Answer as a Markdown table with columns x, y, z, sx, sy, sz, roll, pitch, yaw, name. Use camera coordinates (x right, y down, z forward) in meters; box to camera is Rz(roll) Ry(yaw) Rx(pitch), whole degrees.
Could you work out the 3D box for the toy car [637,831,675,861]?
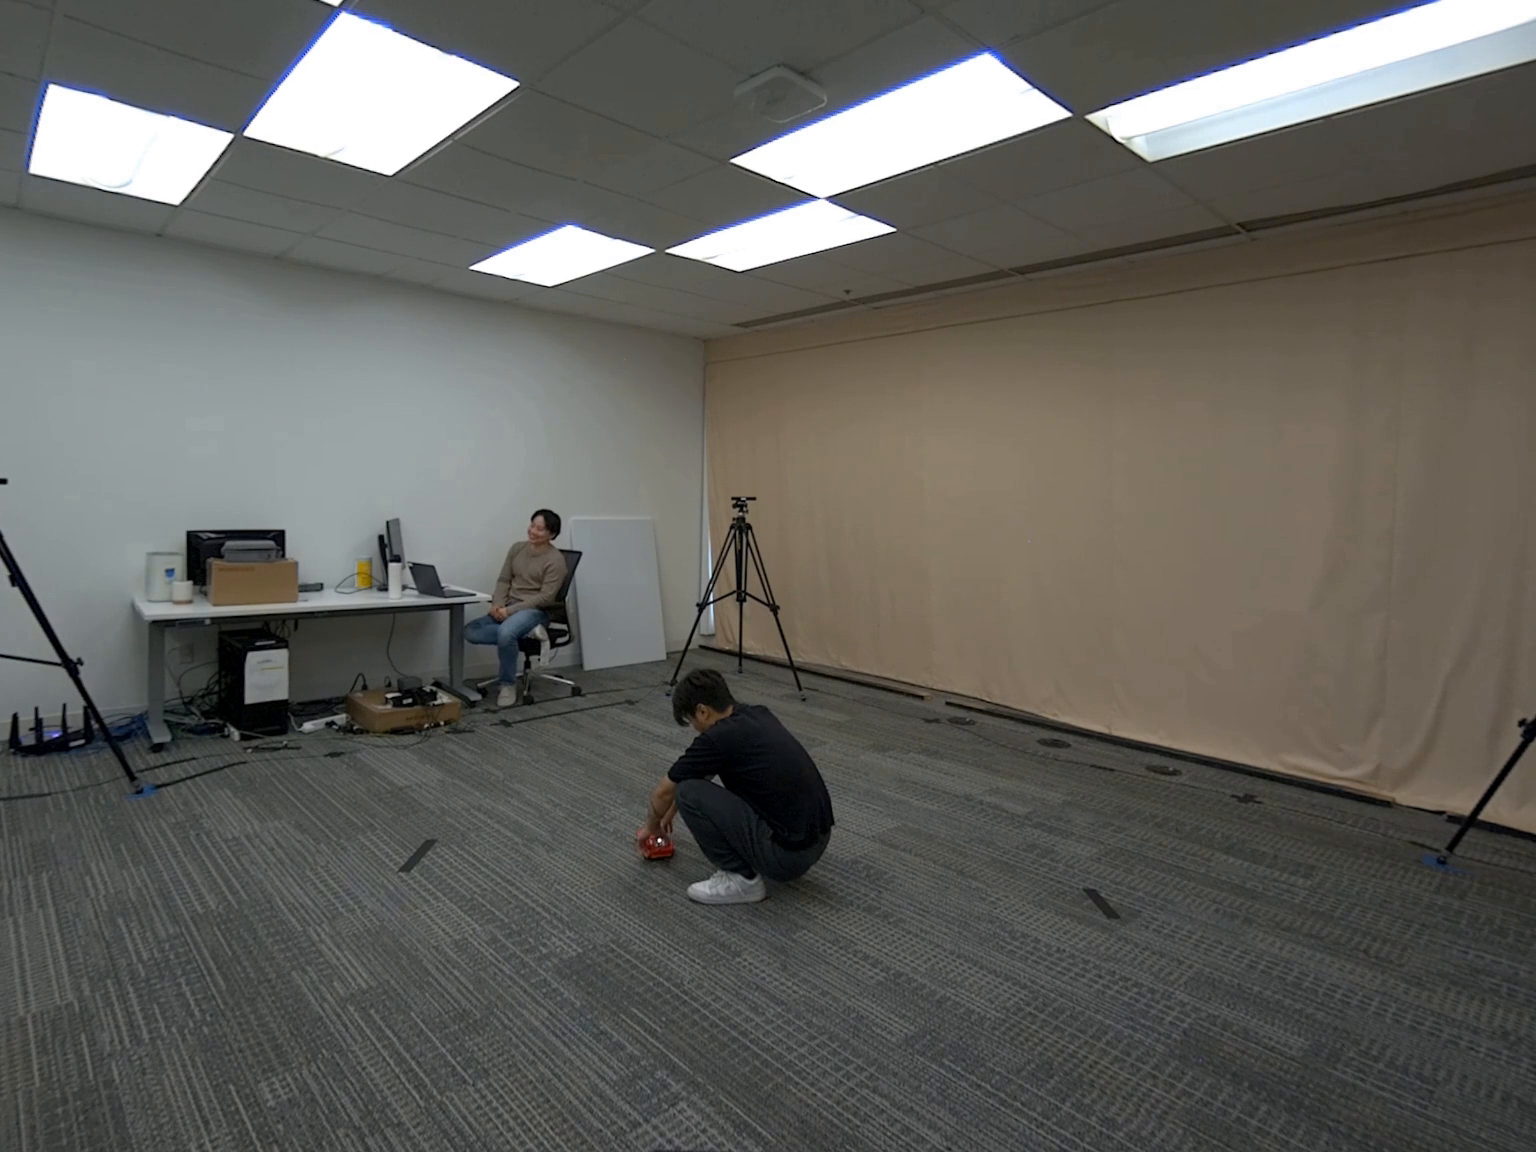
| x | y | z | sx | sy | sz | roll | pitch | yaw | name |
| --- | --- | --- | --- | --- | --- | --- | --- | --- | --- |
| -0.447 | 1.046 | 3.303 | 0.128 | 0.083 | 0.257 | 1 | -6 | -18 | toy car |
